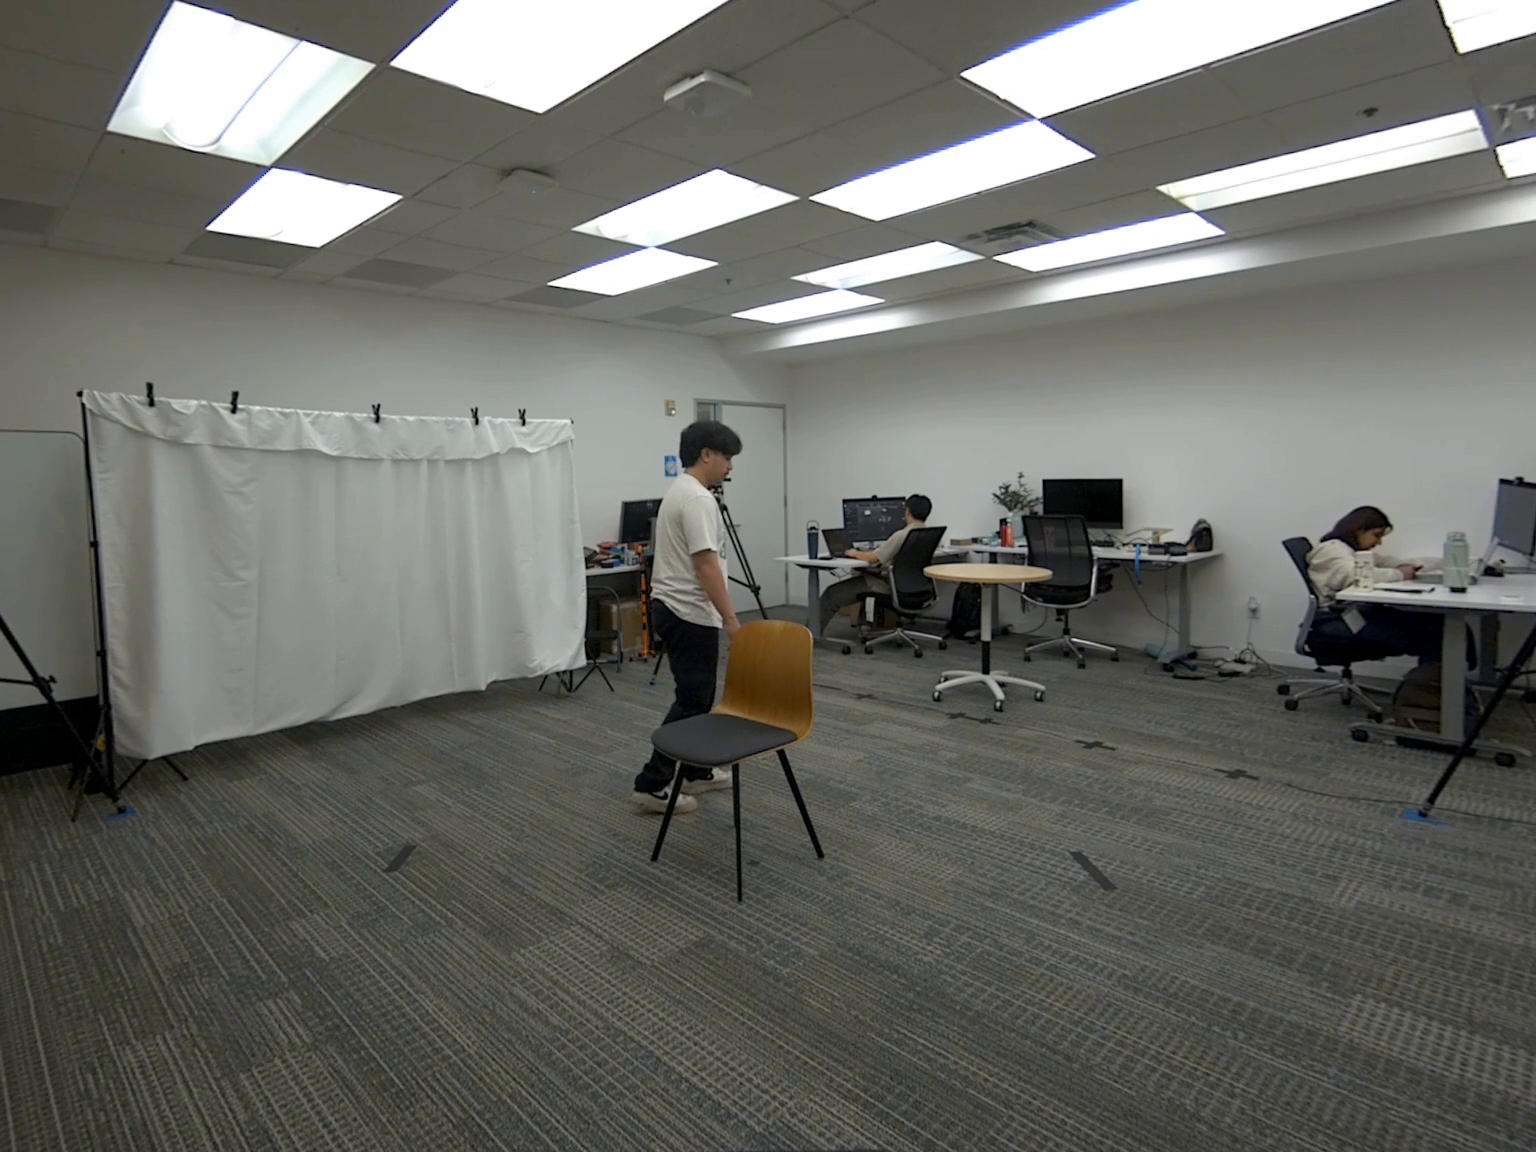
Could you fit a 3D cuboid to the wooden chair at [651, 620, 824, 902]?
[{"bbox_3d":[-0.120,0.617,3.092,0.493,0.877,0.508,3,2,43],"label":"wooden chair"}]
